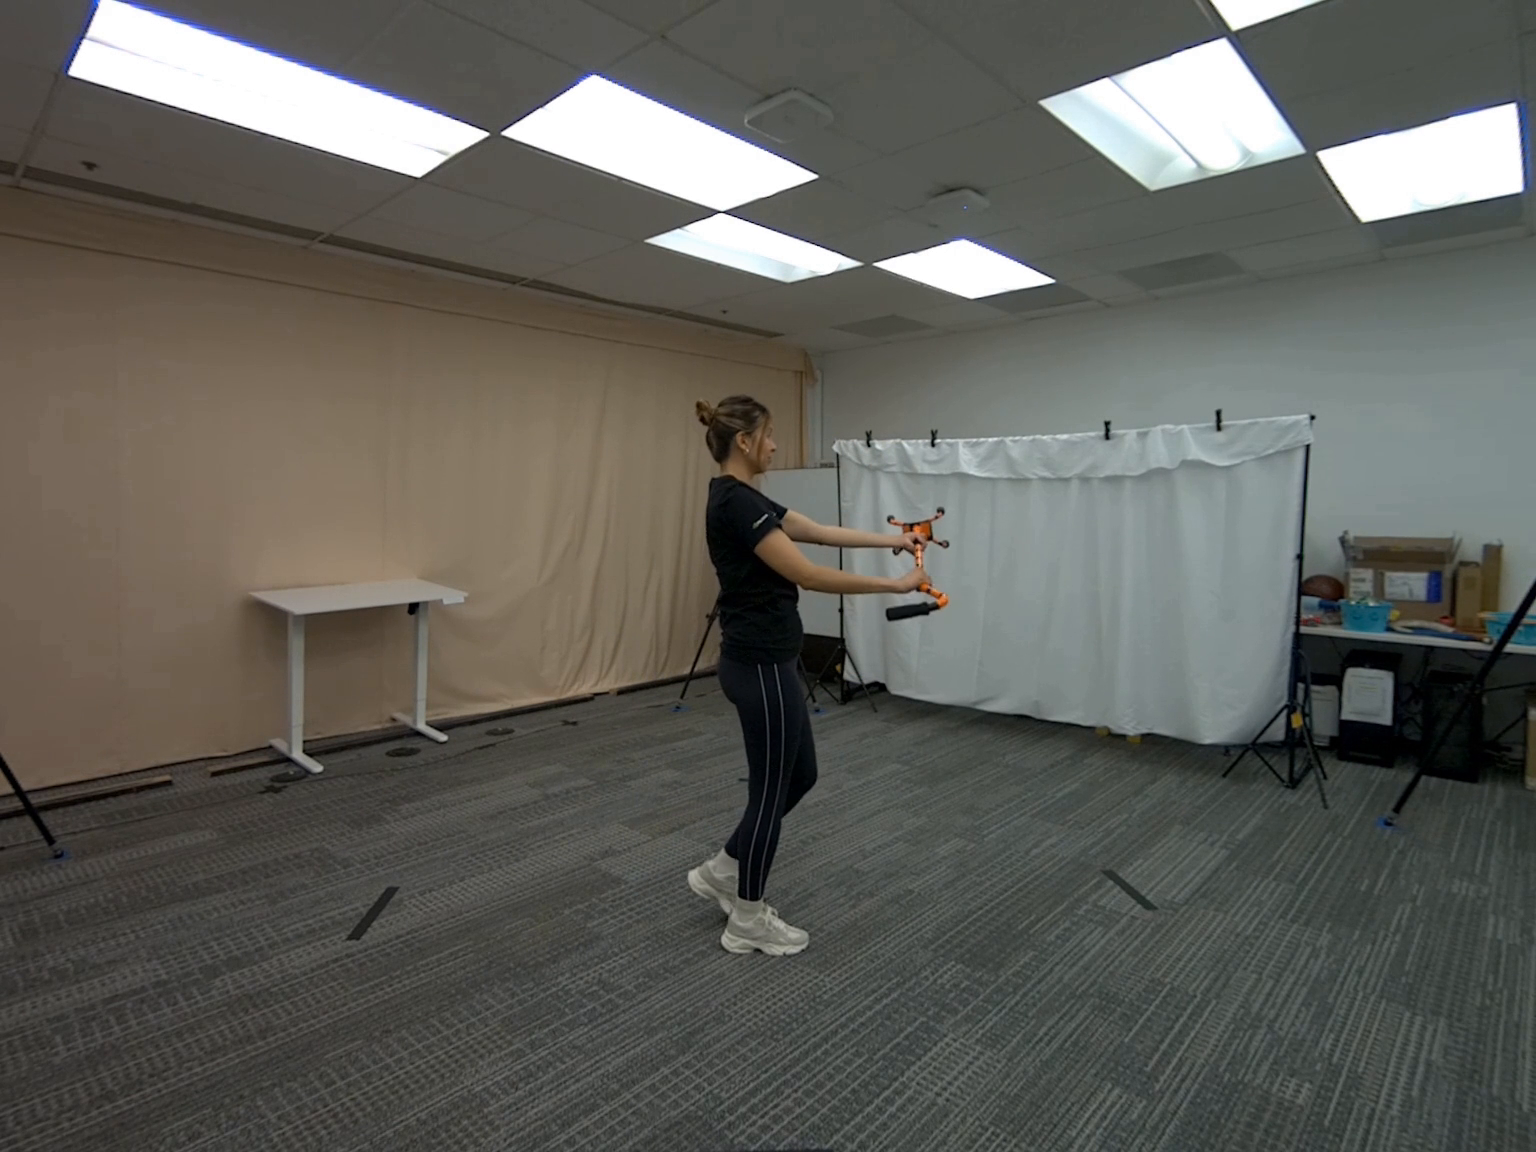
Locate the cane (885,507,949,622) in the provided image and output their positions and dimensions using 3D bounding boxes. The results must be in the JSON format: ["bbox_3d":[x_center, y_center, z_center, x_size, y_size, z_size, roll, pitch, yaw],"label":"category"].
[{"bbox_3d":[0.490,-0.031,2.611,0.209,0.150,0.906,-12,15,13],"label":"cane"}]
